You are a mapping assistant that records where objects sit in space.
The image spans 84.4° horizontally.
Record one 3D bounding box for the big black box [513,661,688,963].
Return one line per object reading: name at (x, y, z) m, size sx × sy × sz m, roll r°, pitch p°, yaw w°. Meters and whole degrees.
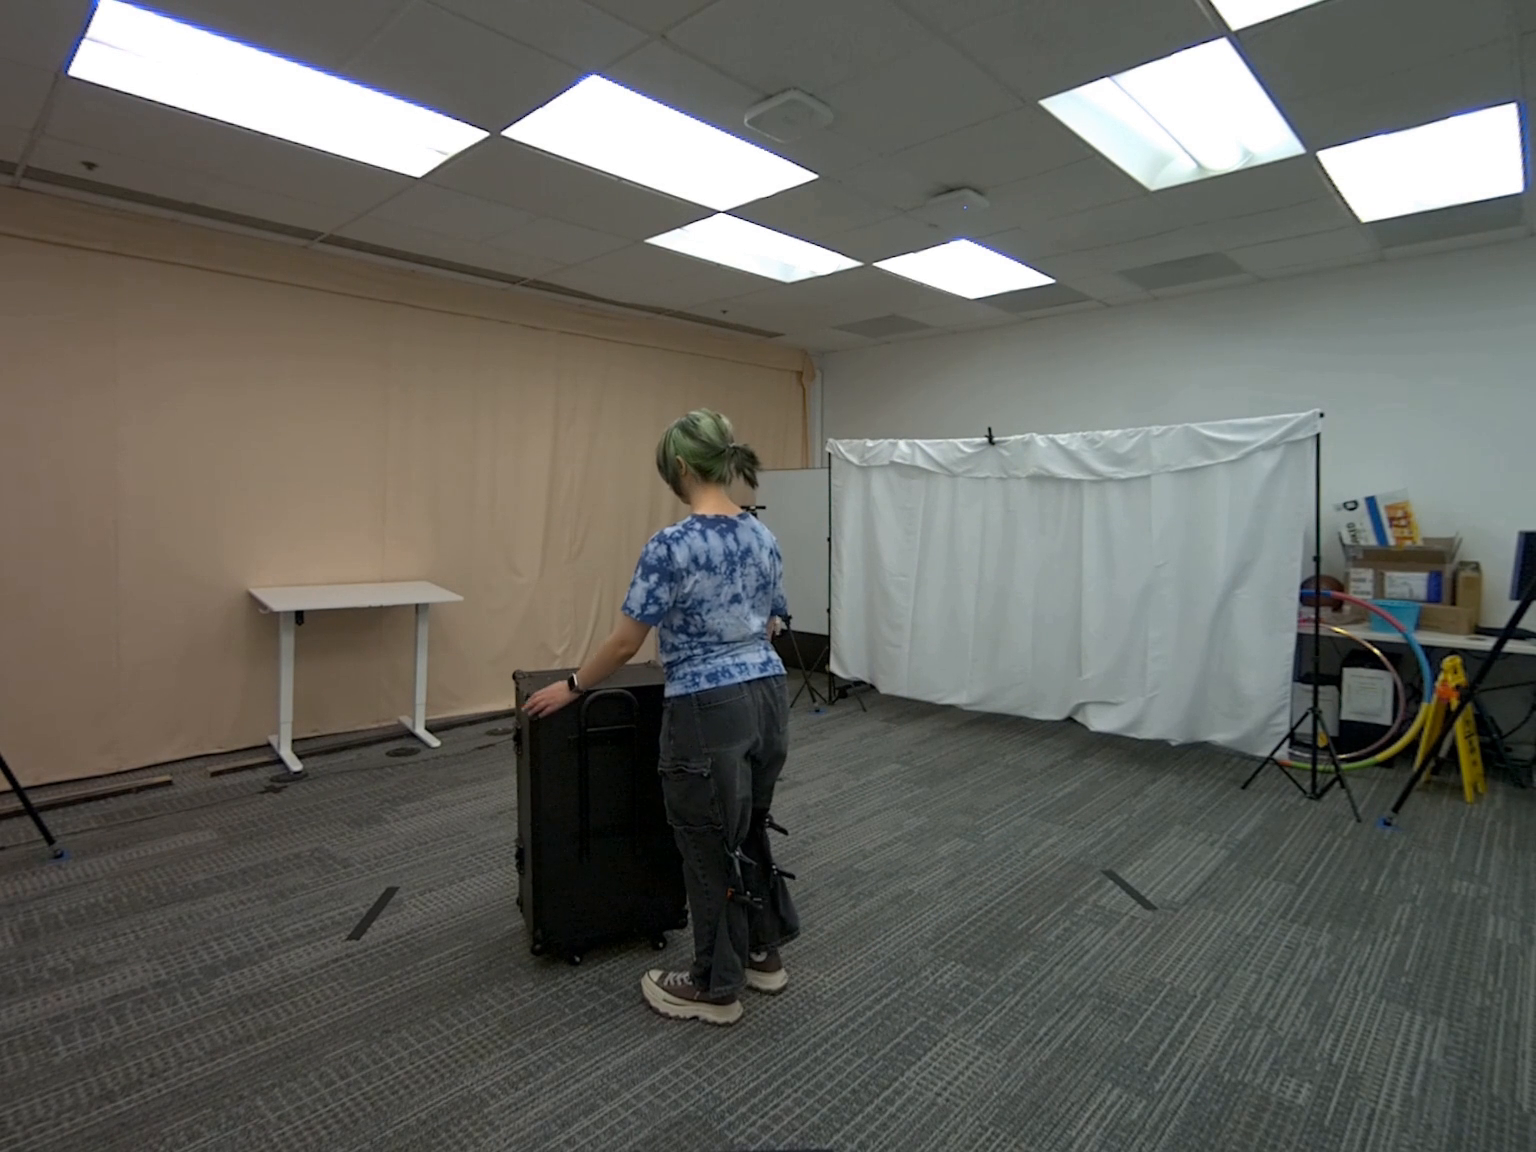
big black box at (-0.534, 0.750, 2.698) m, size 0.510 × 0.859 × 0.406 m, roll -2°, pitch 5°, yaw -22°
